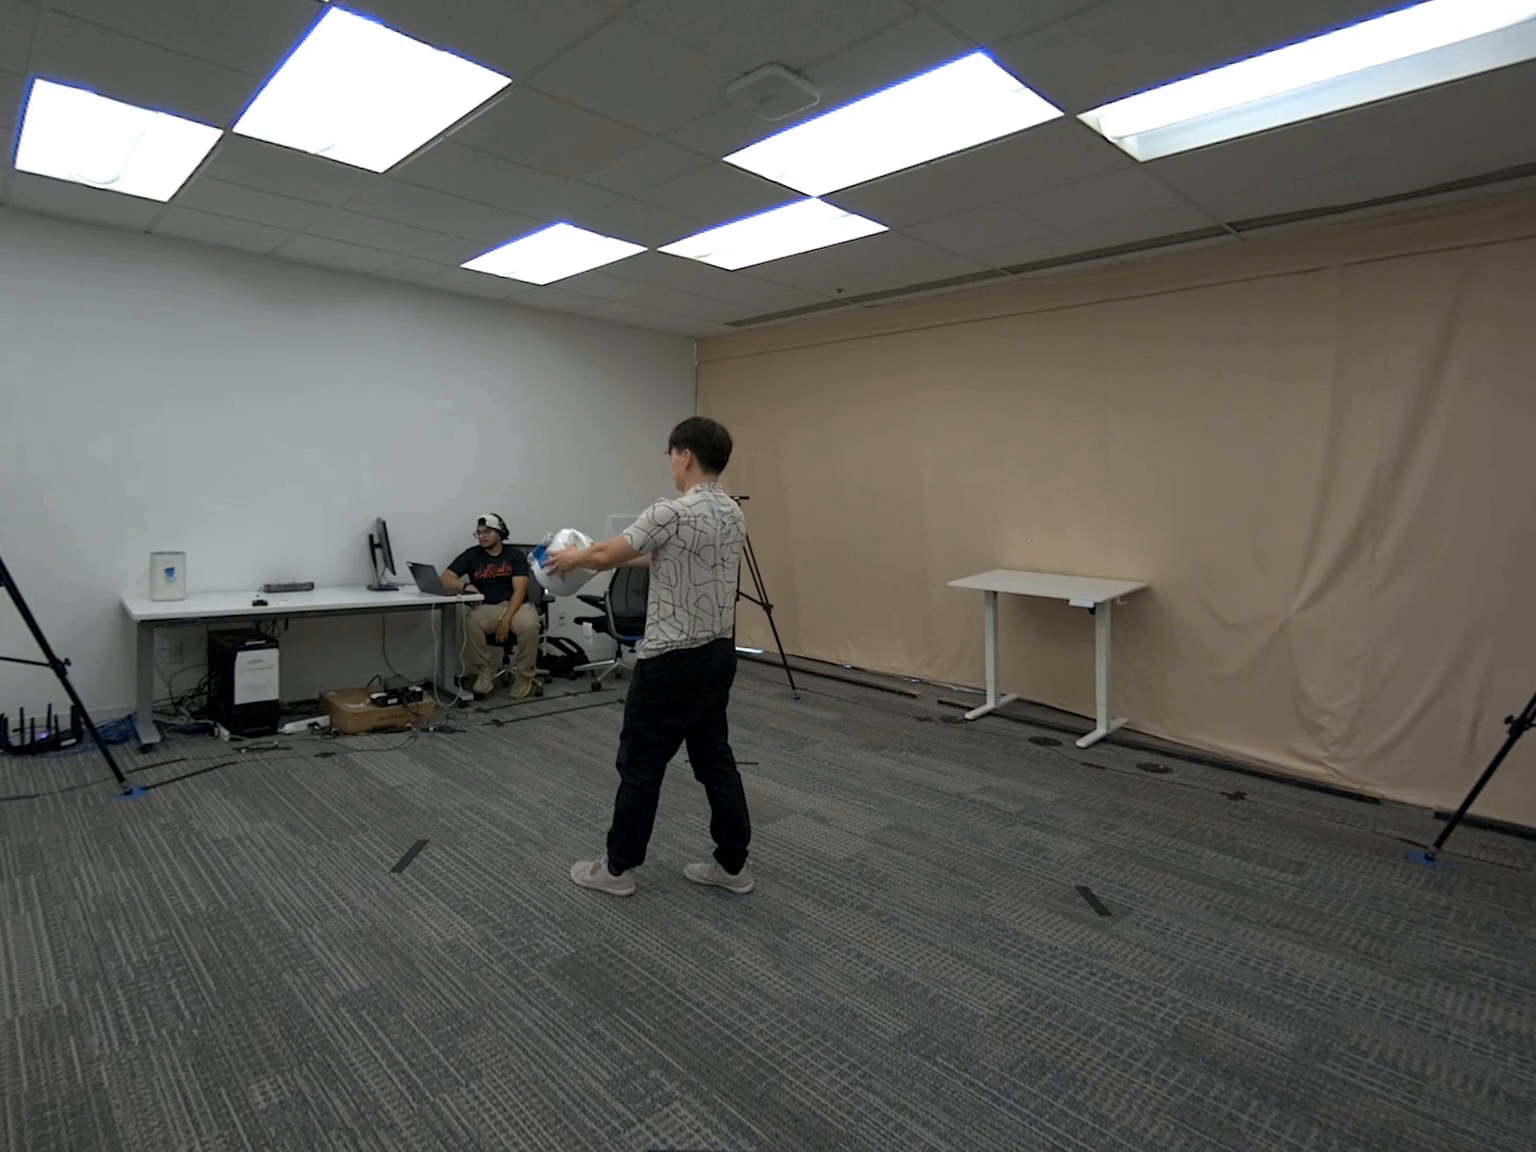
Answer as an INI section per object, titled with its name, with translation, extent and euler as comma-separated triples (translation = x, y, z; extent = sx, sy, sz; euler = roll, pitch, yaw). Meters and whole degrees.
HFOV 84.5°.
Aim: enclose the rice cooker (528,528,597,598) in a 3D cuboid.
[rice cooker]
translation = -0.770, -0.058, 3.243
extent = 0.233, 0.224, 0.213
euler = -39, -18, 25
